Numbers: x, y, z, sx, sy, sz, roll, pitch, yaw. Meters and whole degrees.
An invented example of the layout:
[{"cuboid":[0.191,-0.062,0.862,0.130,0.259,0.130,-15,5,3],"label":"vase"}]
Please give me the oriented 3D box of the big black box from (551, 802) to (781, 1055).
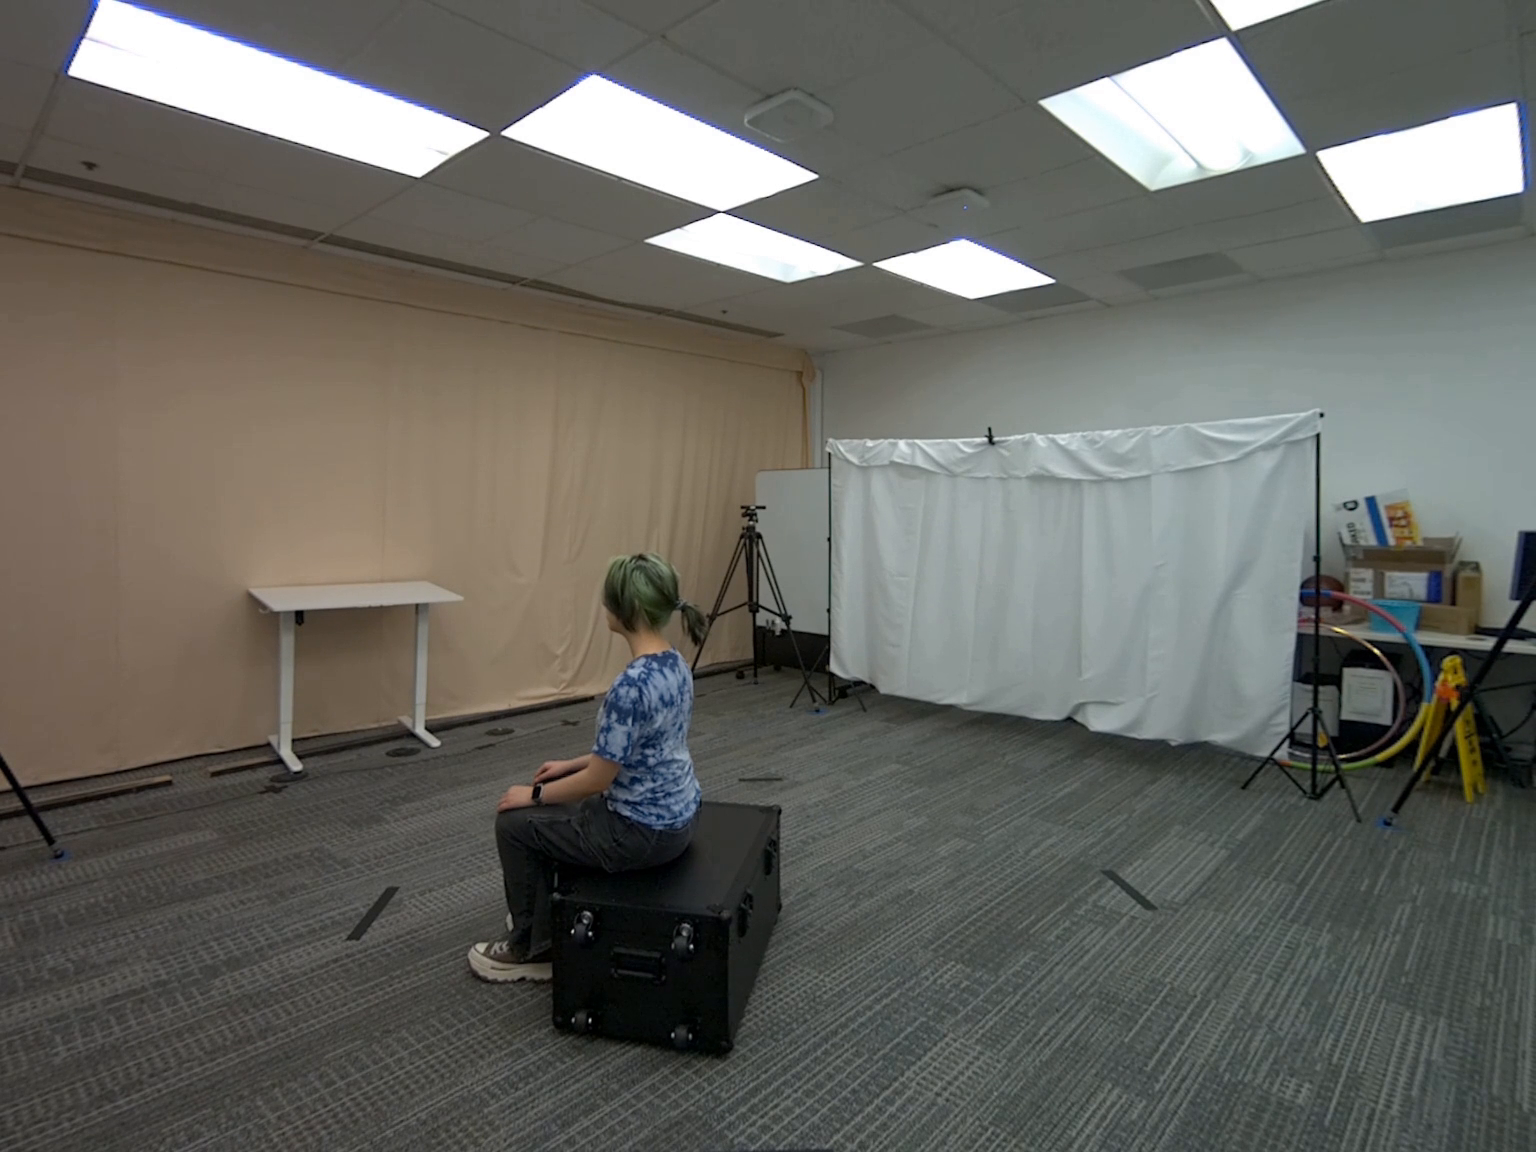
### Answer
[{"cuboid":[-0.264,0.997,2.495,0.528,0.395,0.852,1,4,11],"label":"big black box"}]
